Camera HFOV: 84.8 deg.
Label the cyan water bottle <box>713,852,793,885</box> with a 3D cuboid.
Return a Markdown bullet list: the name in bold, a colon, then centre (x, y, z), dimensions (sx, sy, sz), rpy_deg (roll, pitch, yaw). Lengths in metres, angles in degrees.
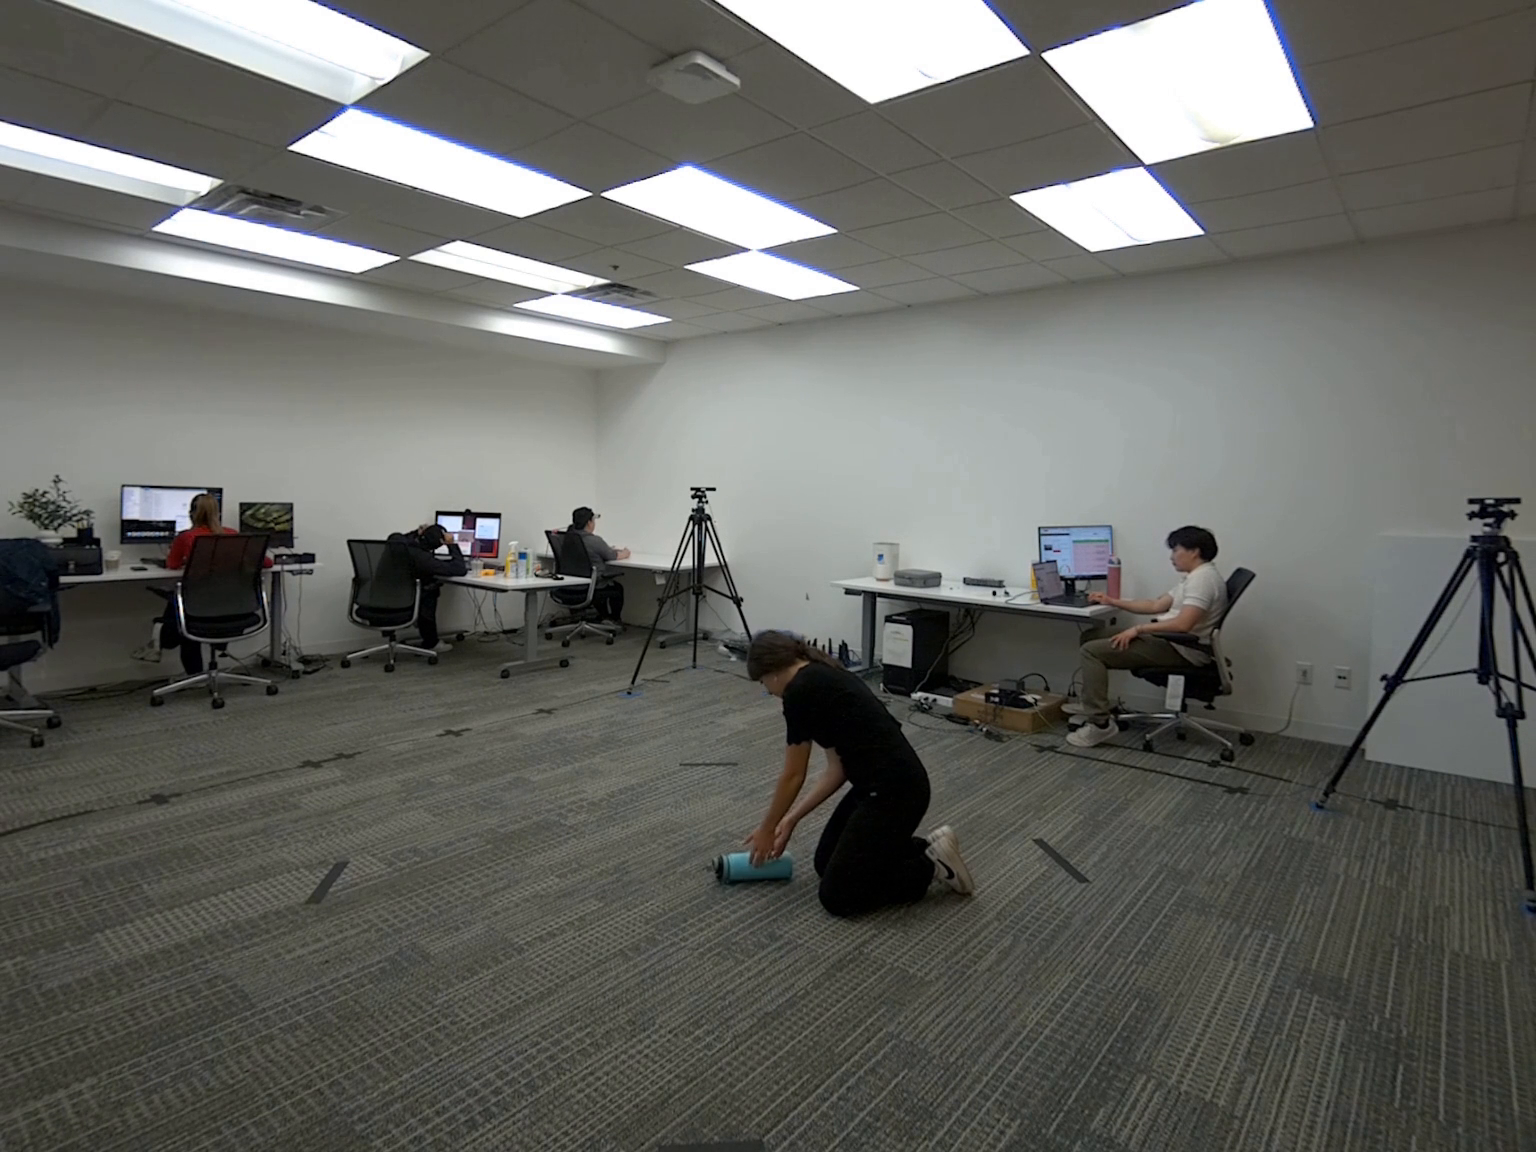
- **cyan water bottle**: centre (-0.068, 1.032, 3.029), dimensions (0.280, 0.092, 0.093), rpy_deg (1, 4, -10)
